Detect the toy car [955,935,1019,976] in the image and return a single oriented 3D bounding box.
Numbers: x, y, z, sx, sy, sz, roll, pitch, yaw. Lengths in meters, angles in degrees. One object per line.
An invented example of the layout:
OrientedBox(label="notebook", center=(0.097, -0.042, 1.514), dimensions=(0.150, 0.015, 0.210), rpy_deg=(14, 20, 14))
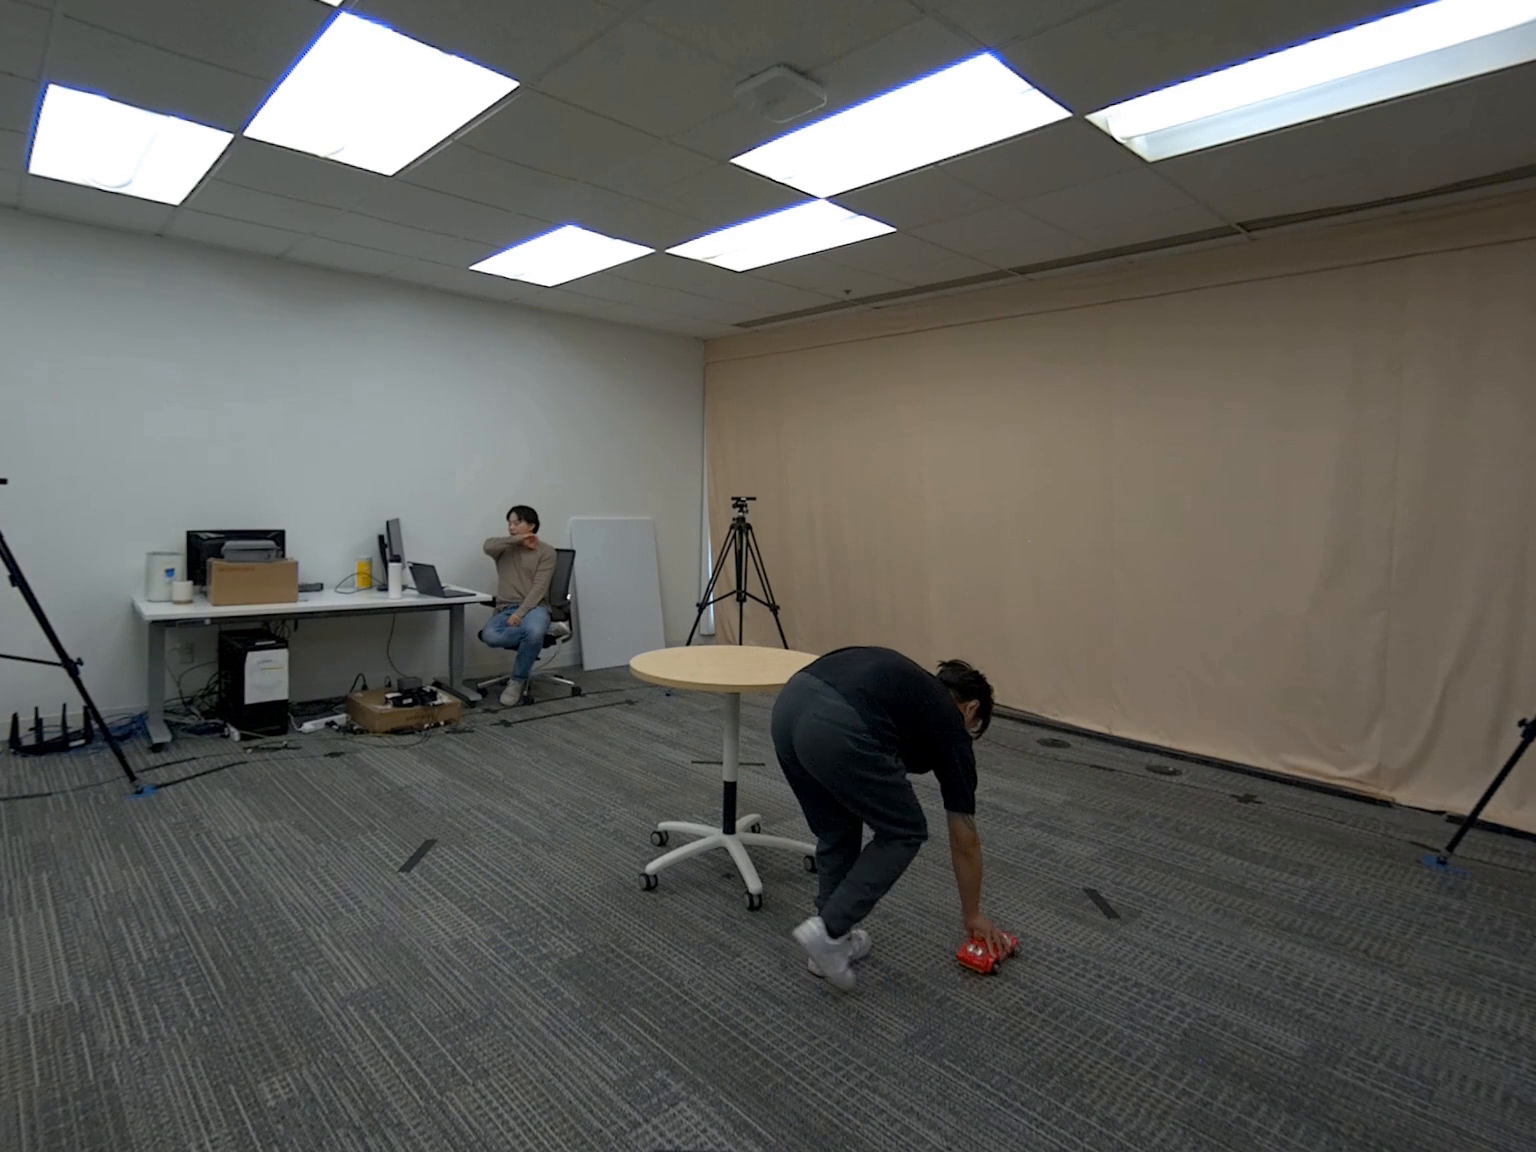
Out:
OrientedBox(label="toy car", center=(0.663, 1.147, 2.574), dimensions=(0.134, 0.083, 0.247), rpy_deg=(8, -3, 41))
